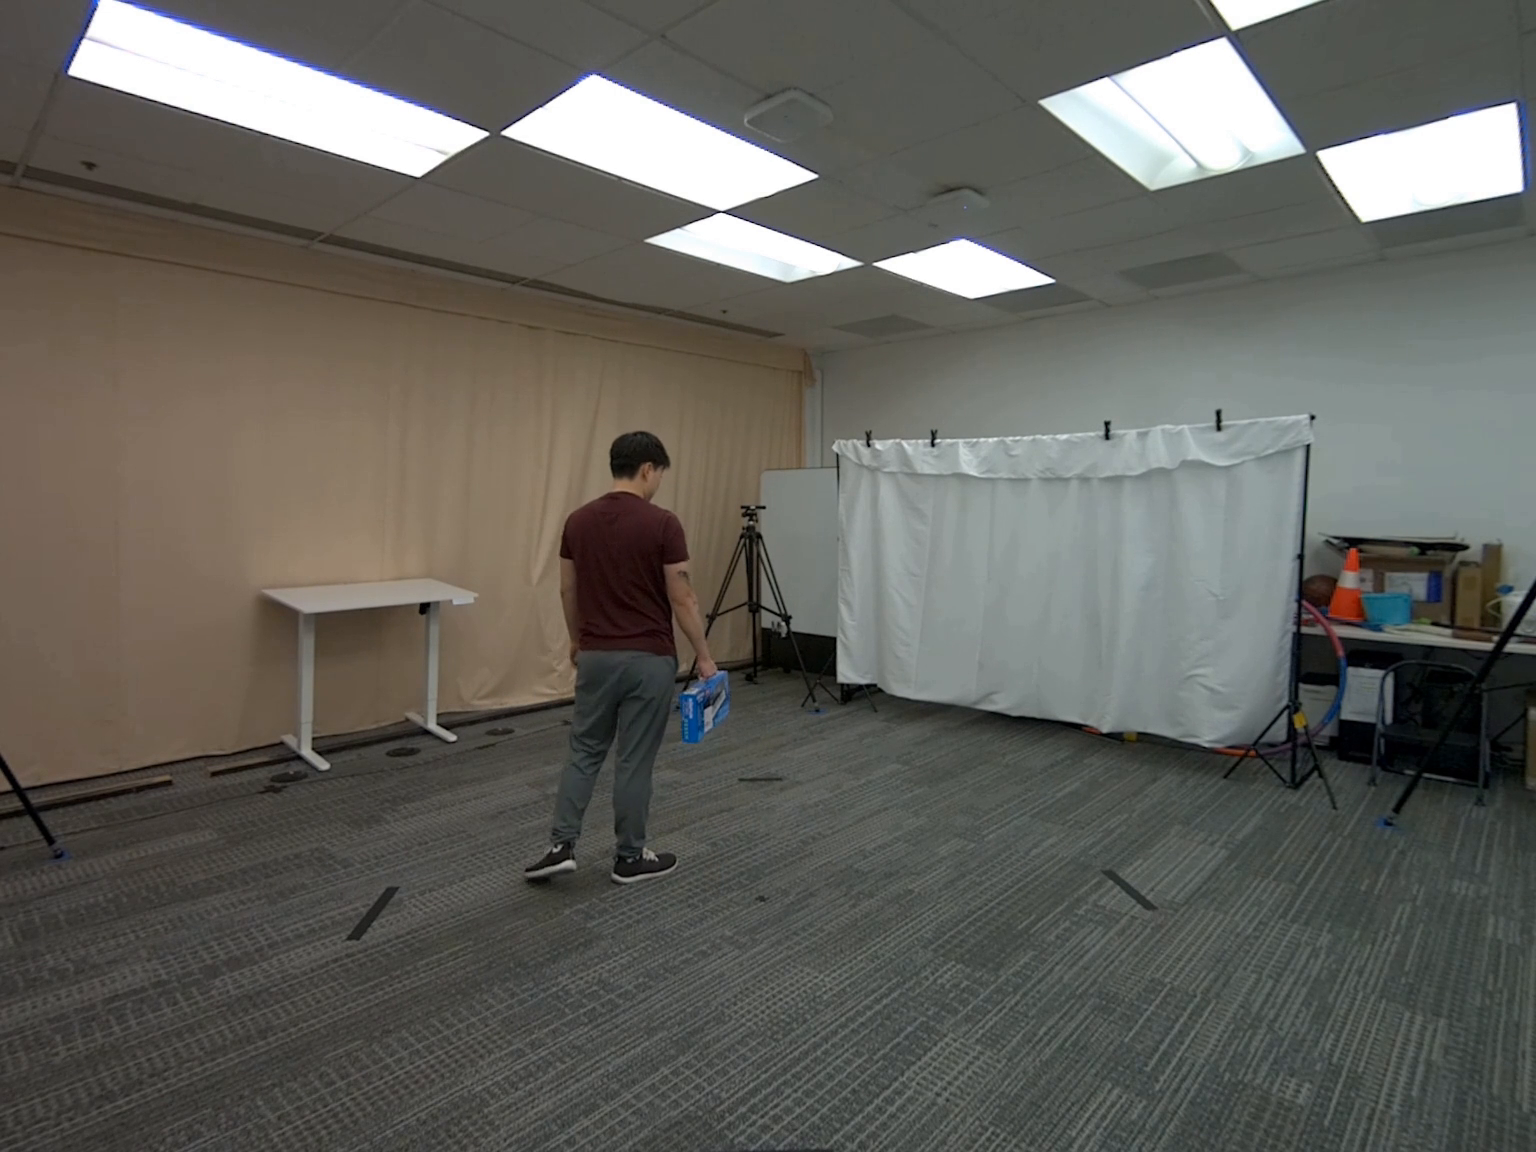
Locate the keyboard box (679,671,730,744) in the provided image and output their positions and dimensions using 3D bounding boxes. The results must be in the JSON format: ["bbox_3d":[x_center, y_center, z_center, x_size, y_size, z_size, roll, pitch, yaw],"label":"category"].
[{"bbox_3d":[-0.232,0.481,3.158,0.060,0.175,0.431,-1,4,12],"label":"keyboard box"}]
